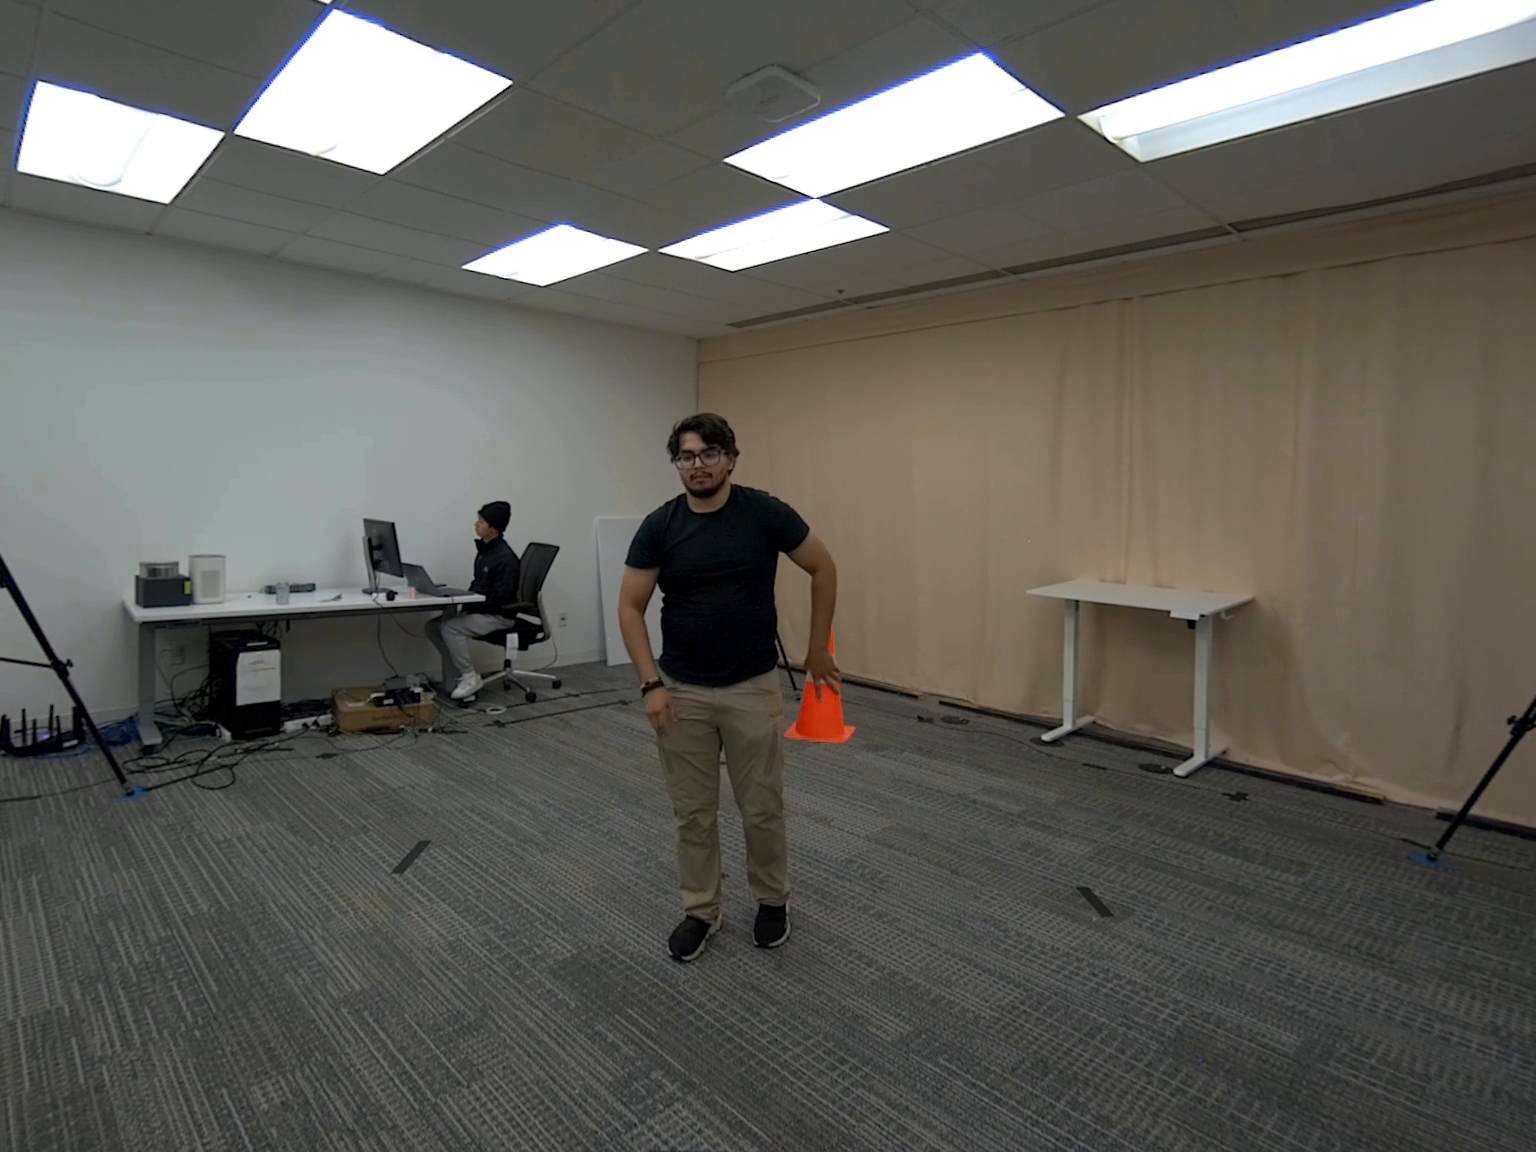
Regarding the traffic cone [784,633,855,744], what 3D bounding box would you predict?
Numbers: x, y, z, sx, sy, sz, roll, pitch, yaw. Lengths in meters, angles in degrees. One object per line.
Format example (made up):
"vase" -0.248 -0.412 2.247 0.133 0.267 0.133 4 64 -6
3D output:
"traffic cone" 0.159 0.312 2.654 0.209 0.383 0.200 5 4 23
